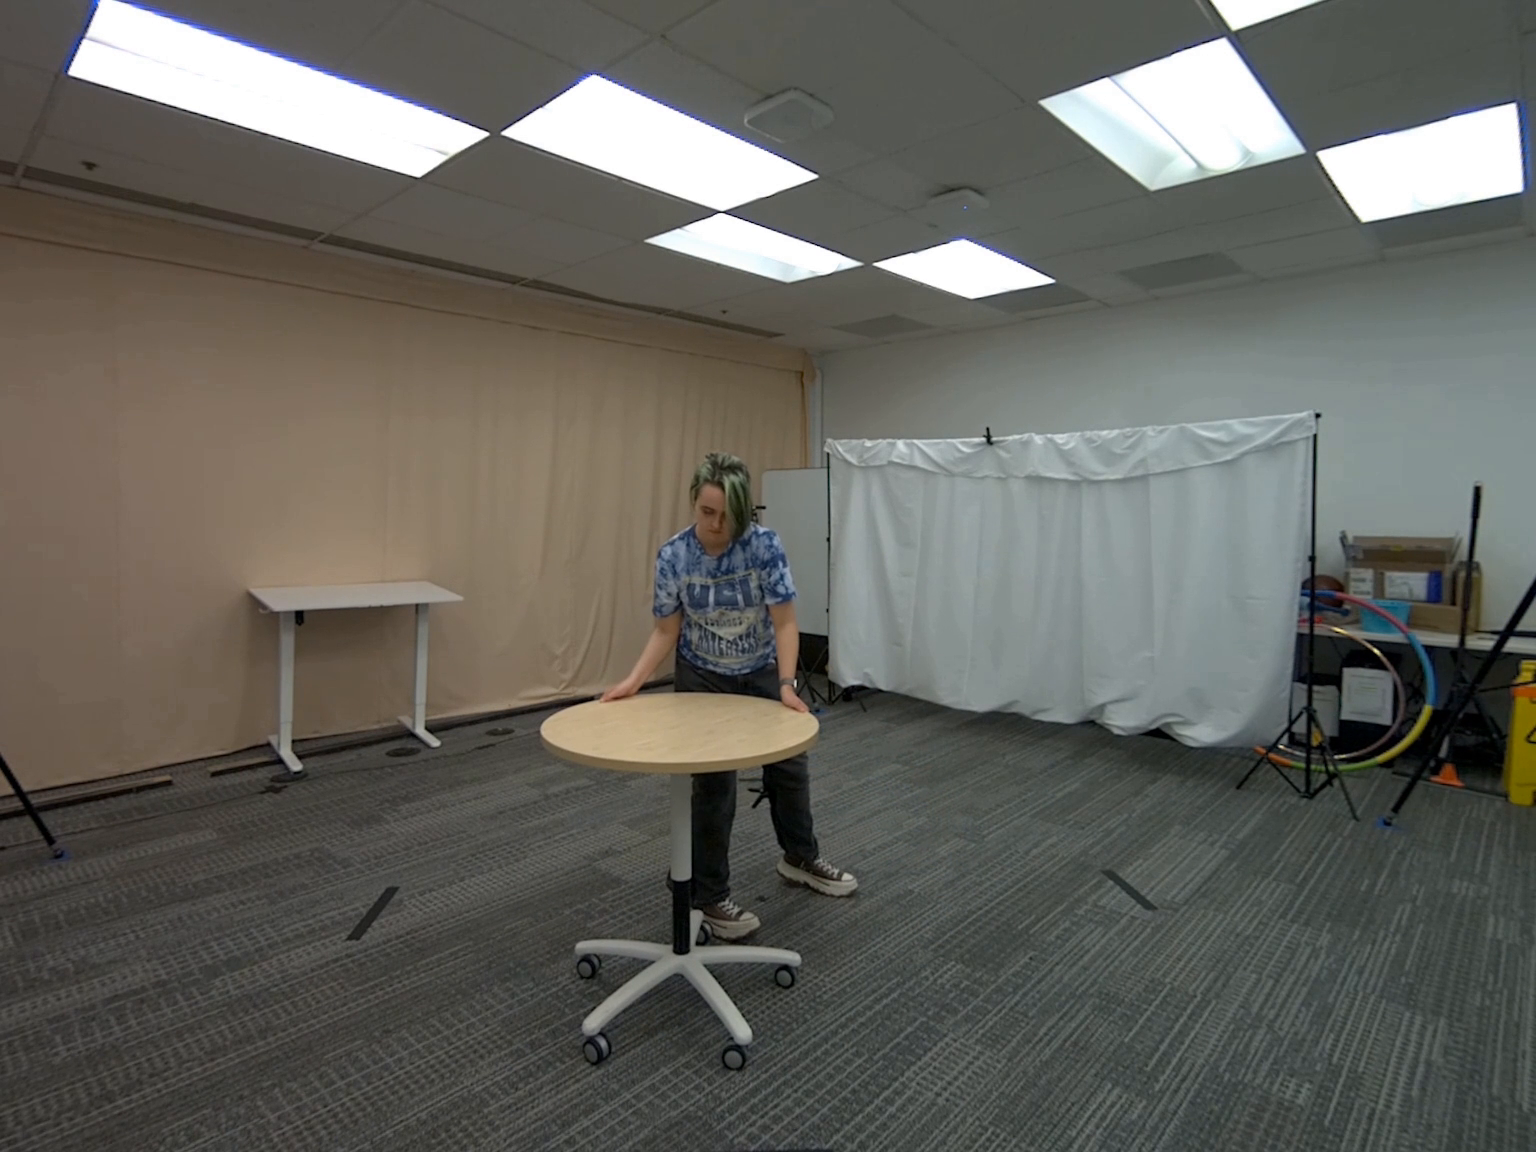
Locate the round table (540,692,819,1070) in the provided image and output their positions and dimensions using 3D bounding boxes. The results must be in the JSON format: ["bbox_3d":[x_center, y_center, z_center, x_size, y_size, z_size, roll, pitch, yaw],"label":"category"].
[{"bbox_3d":[-0.251,0.806,2.354,0.763,0.792,0.767,-1,4,-2],"label":"round table"}]
